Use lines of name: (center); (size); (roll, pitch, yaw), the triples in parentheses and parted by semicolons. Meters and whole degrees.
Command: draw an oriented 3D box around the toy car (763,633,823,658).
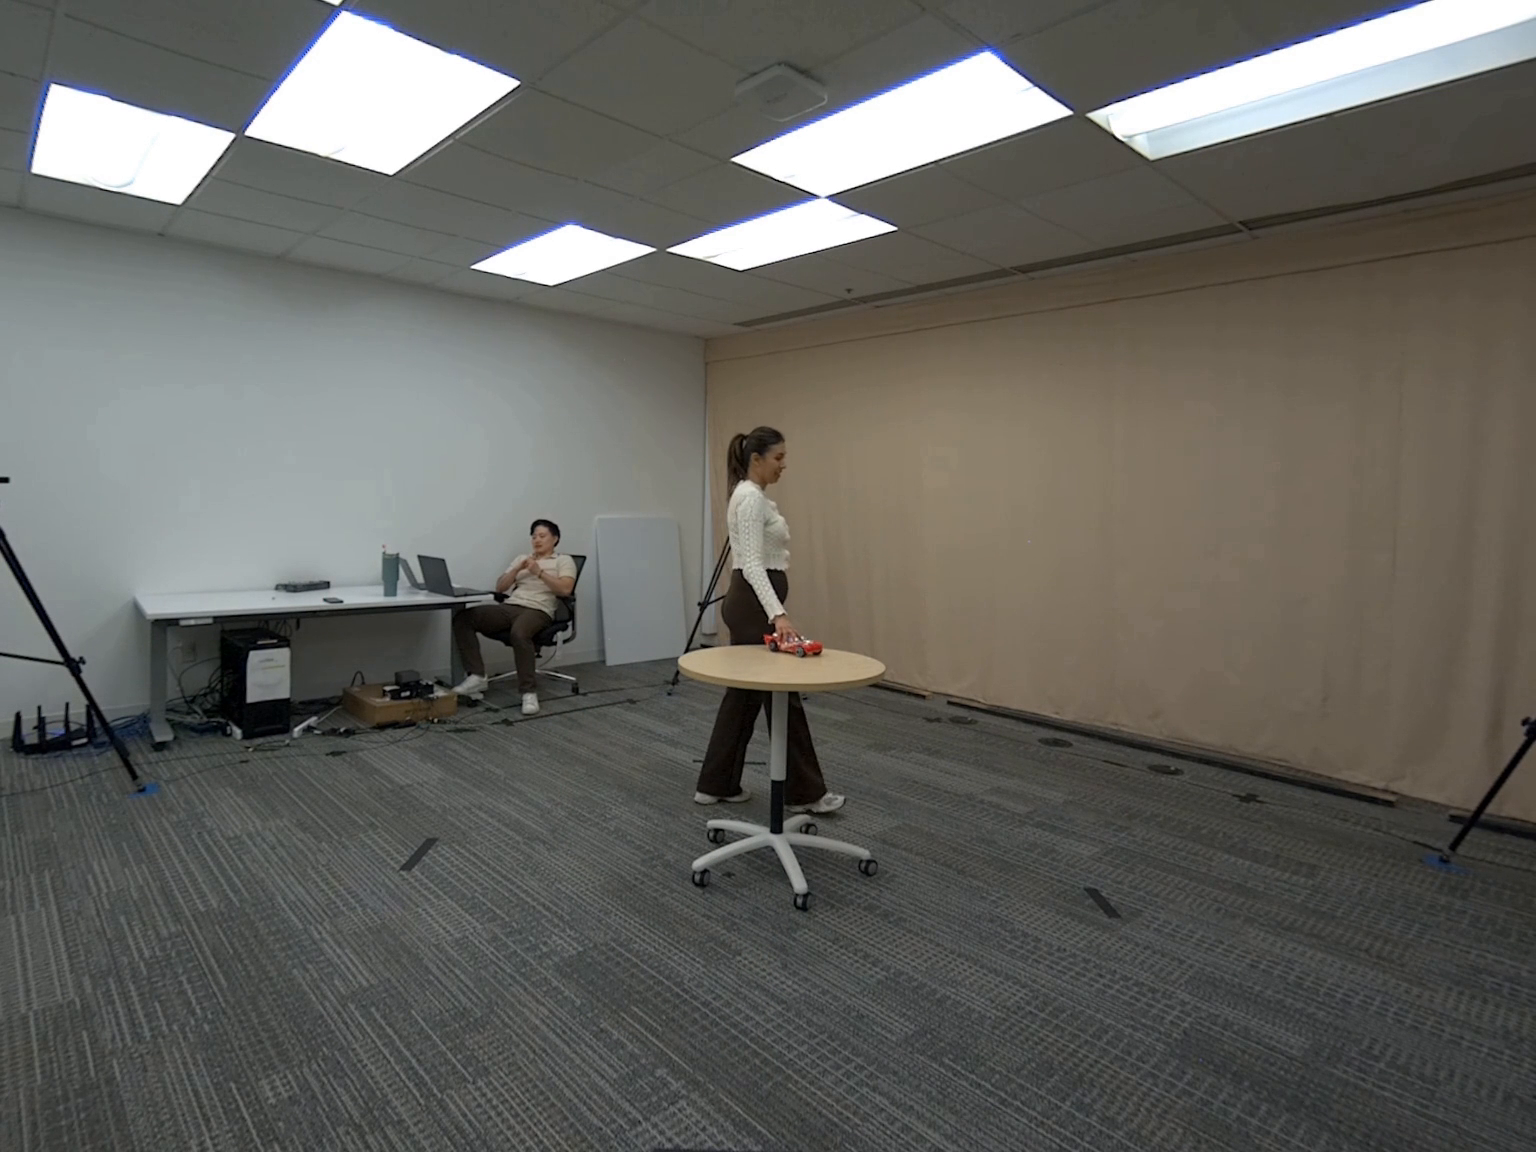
toy car: (0.086, 0.275, 3.343); (0.127, 0.082, 0.262); (-2, 16, -43)
